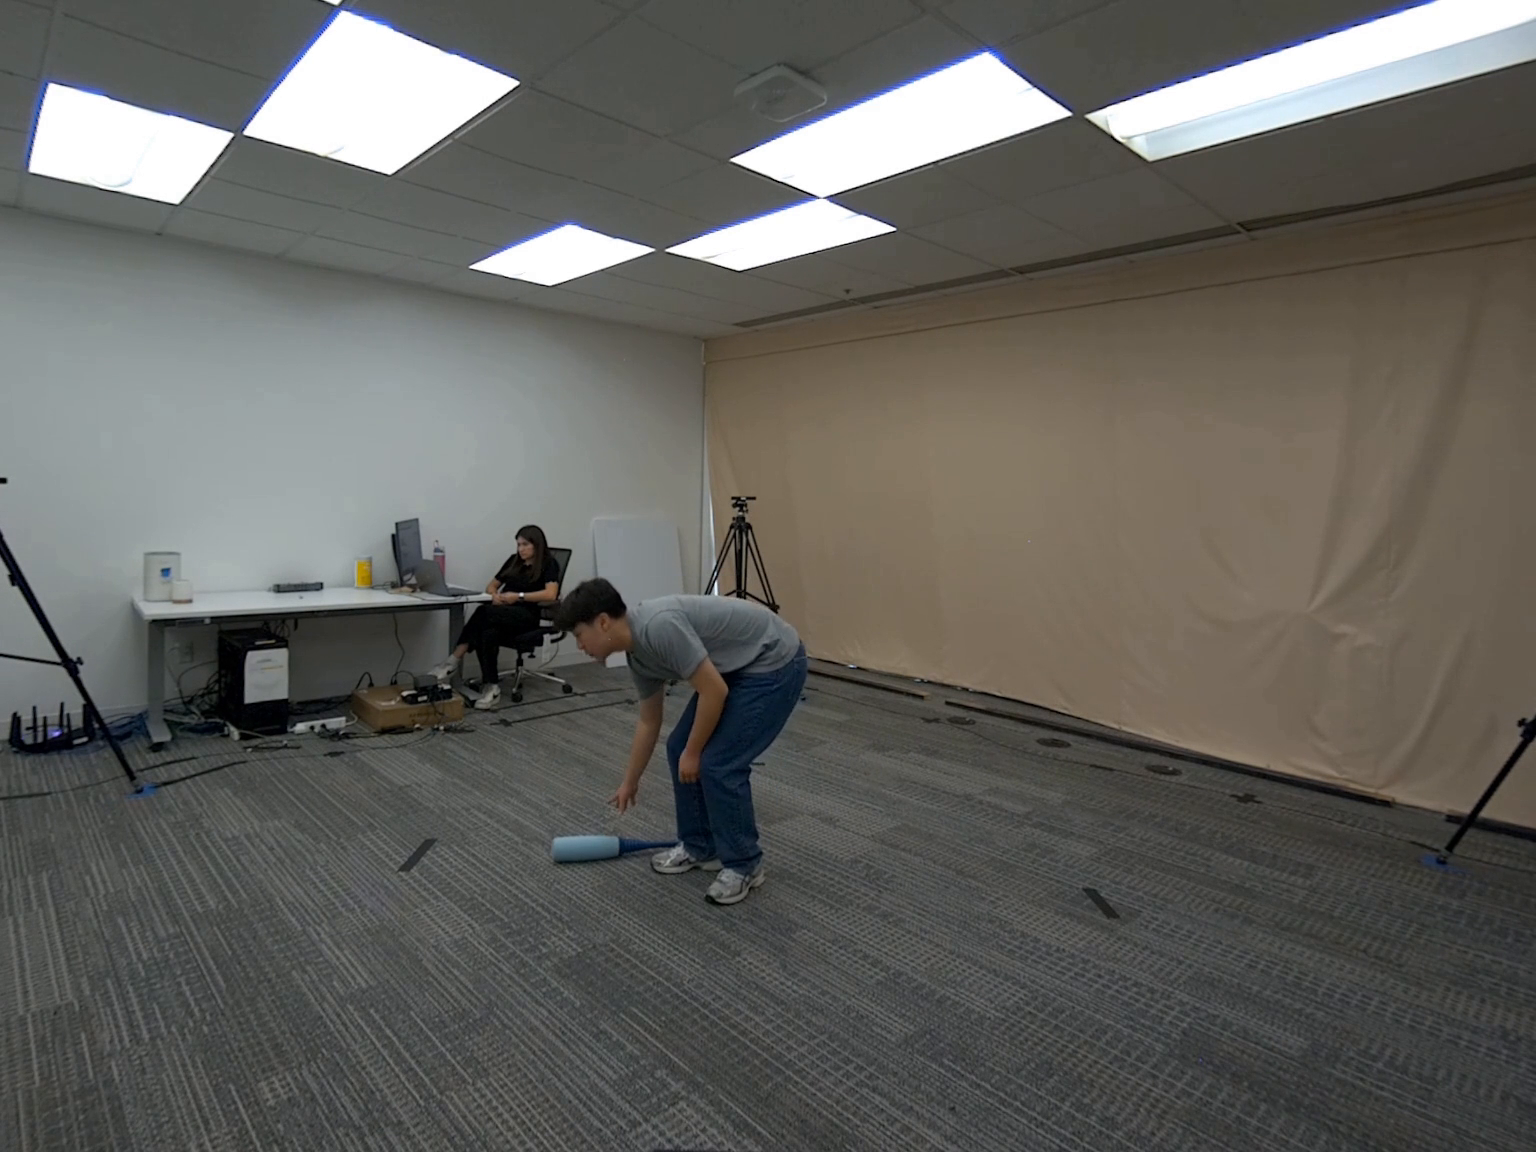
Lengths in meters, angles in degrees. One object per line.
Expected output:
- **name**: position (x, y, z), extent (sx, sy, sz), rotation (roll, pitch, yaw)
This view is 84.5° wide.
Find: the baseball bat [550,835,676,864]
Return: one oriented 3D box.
- **baseball bat**: position (-0.565, 1.039, 3.246), extent (0.536, 0.089, 0.090), rotation (4, 3, -15)
